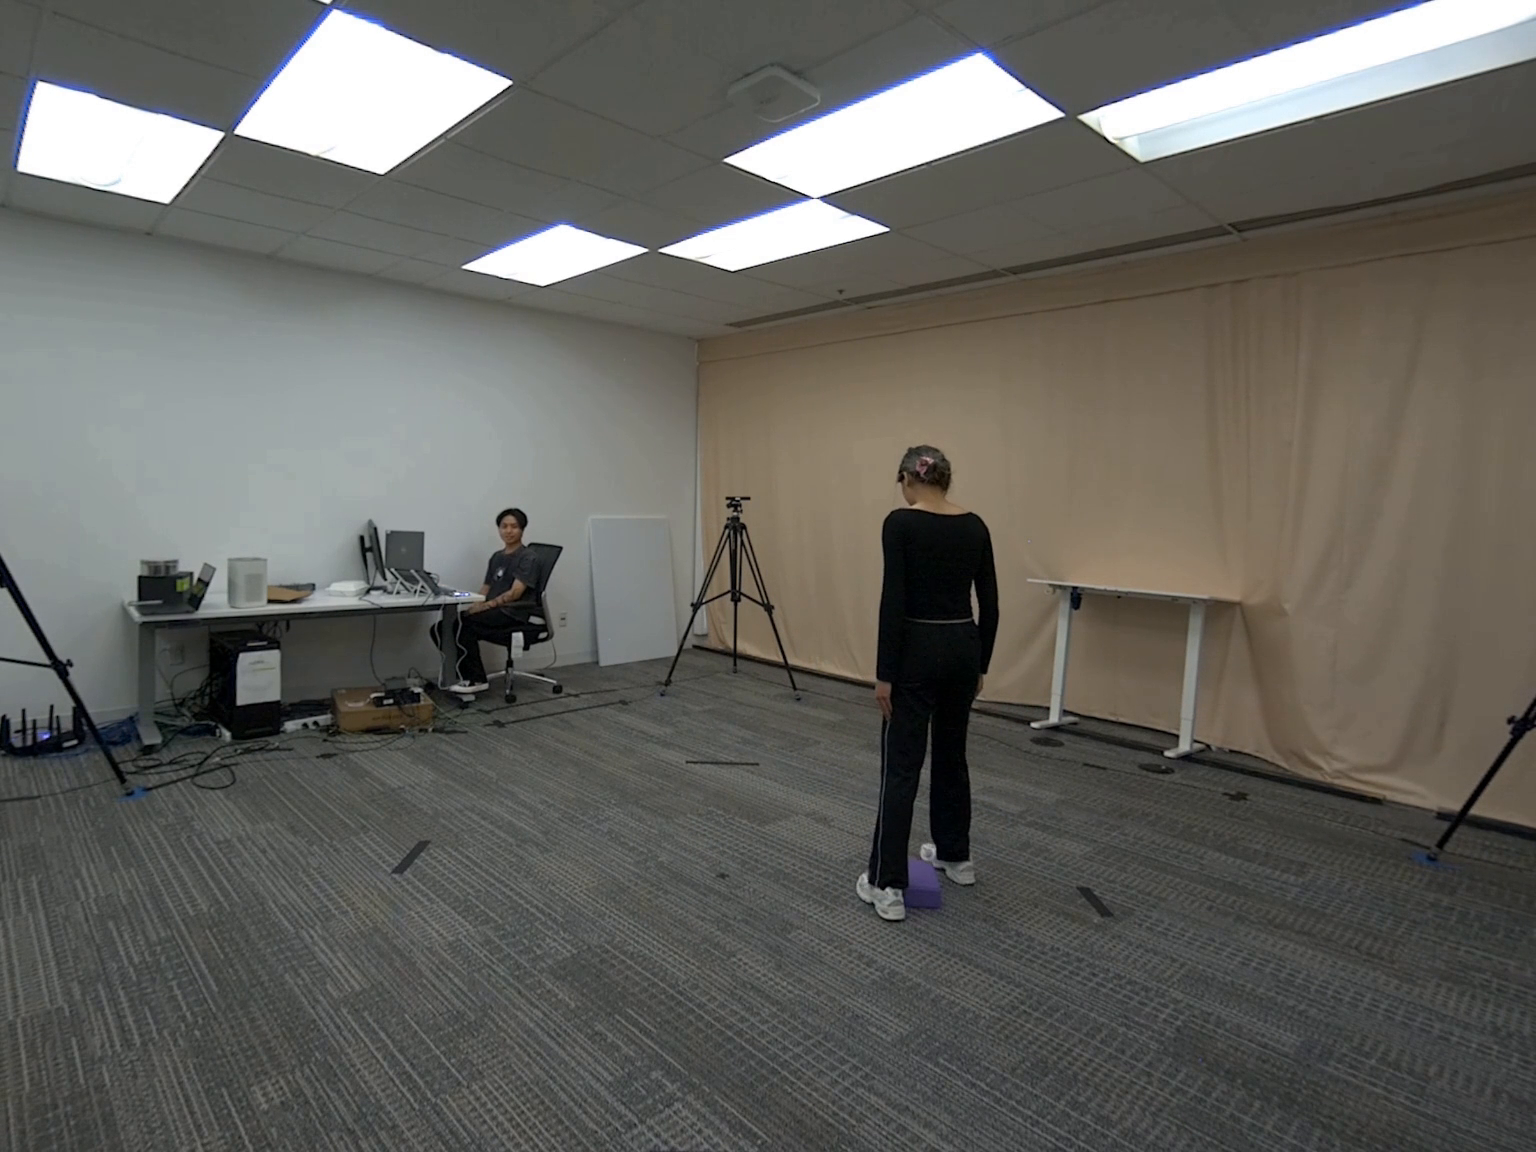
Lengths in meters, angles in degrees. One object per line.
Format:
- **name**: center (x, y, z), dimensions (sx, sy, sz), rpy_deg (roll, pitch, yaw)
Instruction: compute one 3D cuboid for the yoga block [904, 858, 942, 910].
- **yoga block**: center (0.520, 1.095, 2.999), dimensions (0.149, 0.076, 0.229), rpy_deg (1, 7, 3)
